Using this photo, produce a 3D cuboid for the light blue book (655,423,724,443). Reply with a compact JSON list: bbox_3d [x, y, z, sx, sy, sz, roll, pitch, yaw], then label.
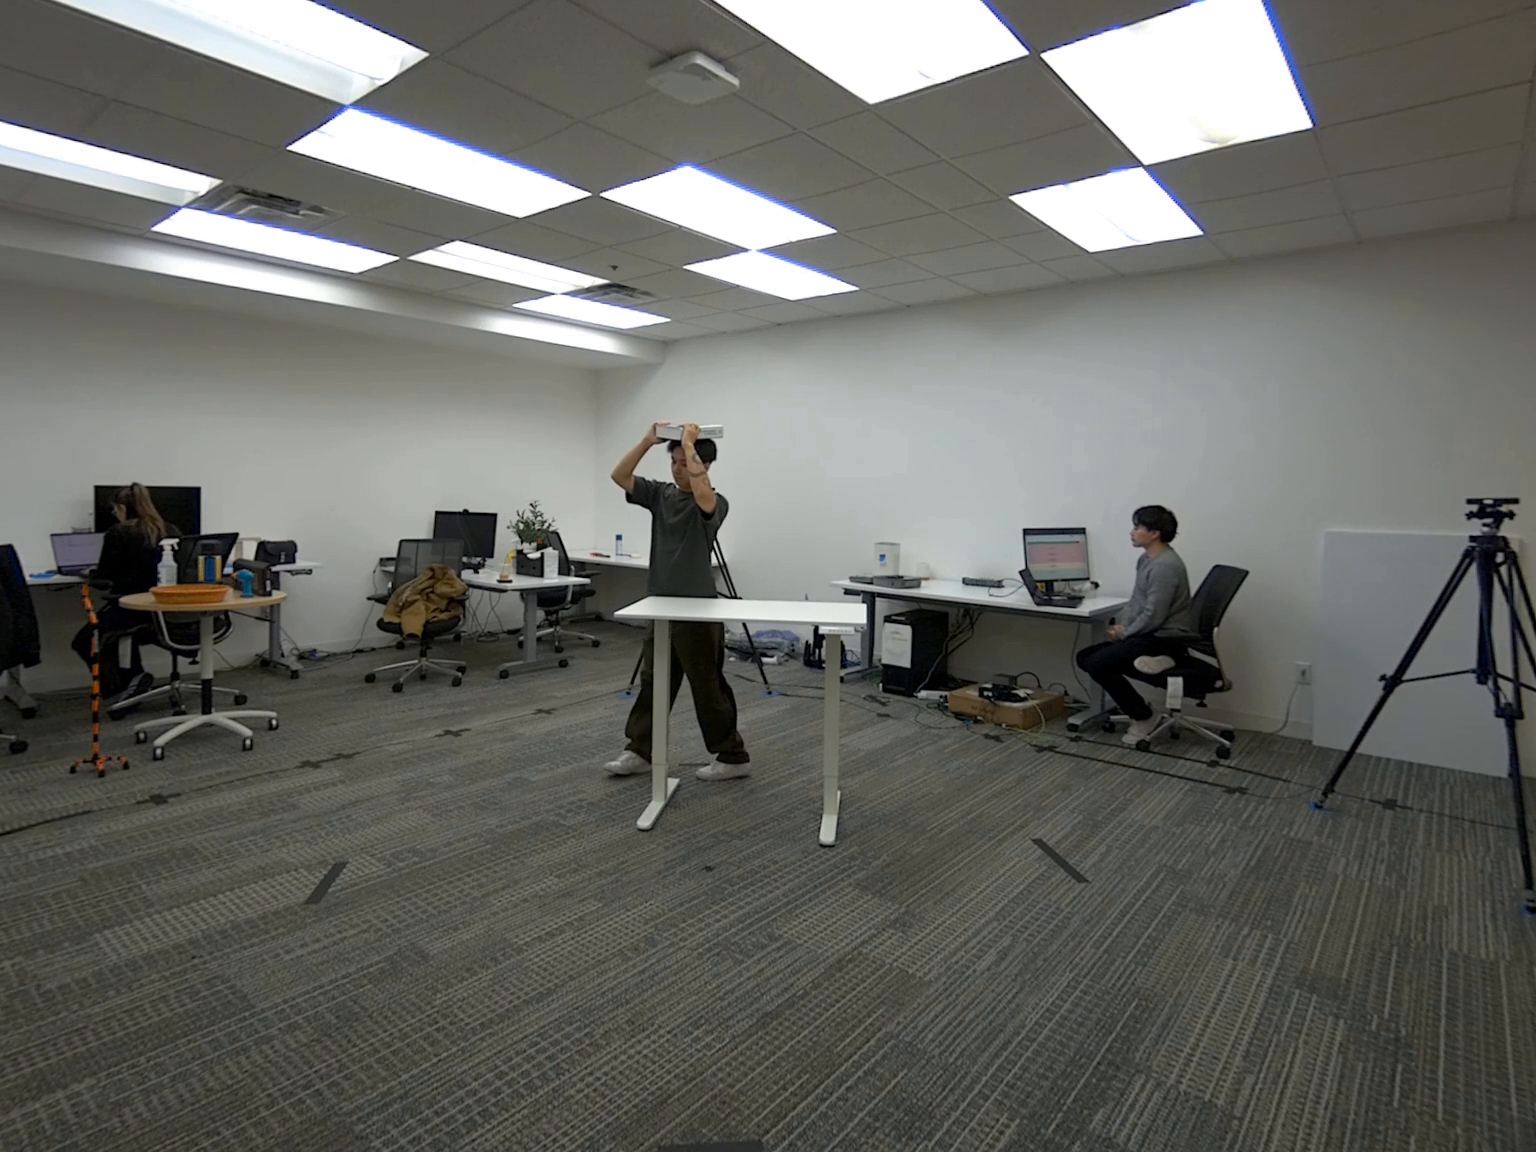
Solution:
[{"bbox_3d":[-0.379,-0.681,3.962,0.254,0.058,0.199,-12,19,-41],"label":"light blue book"}]
